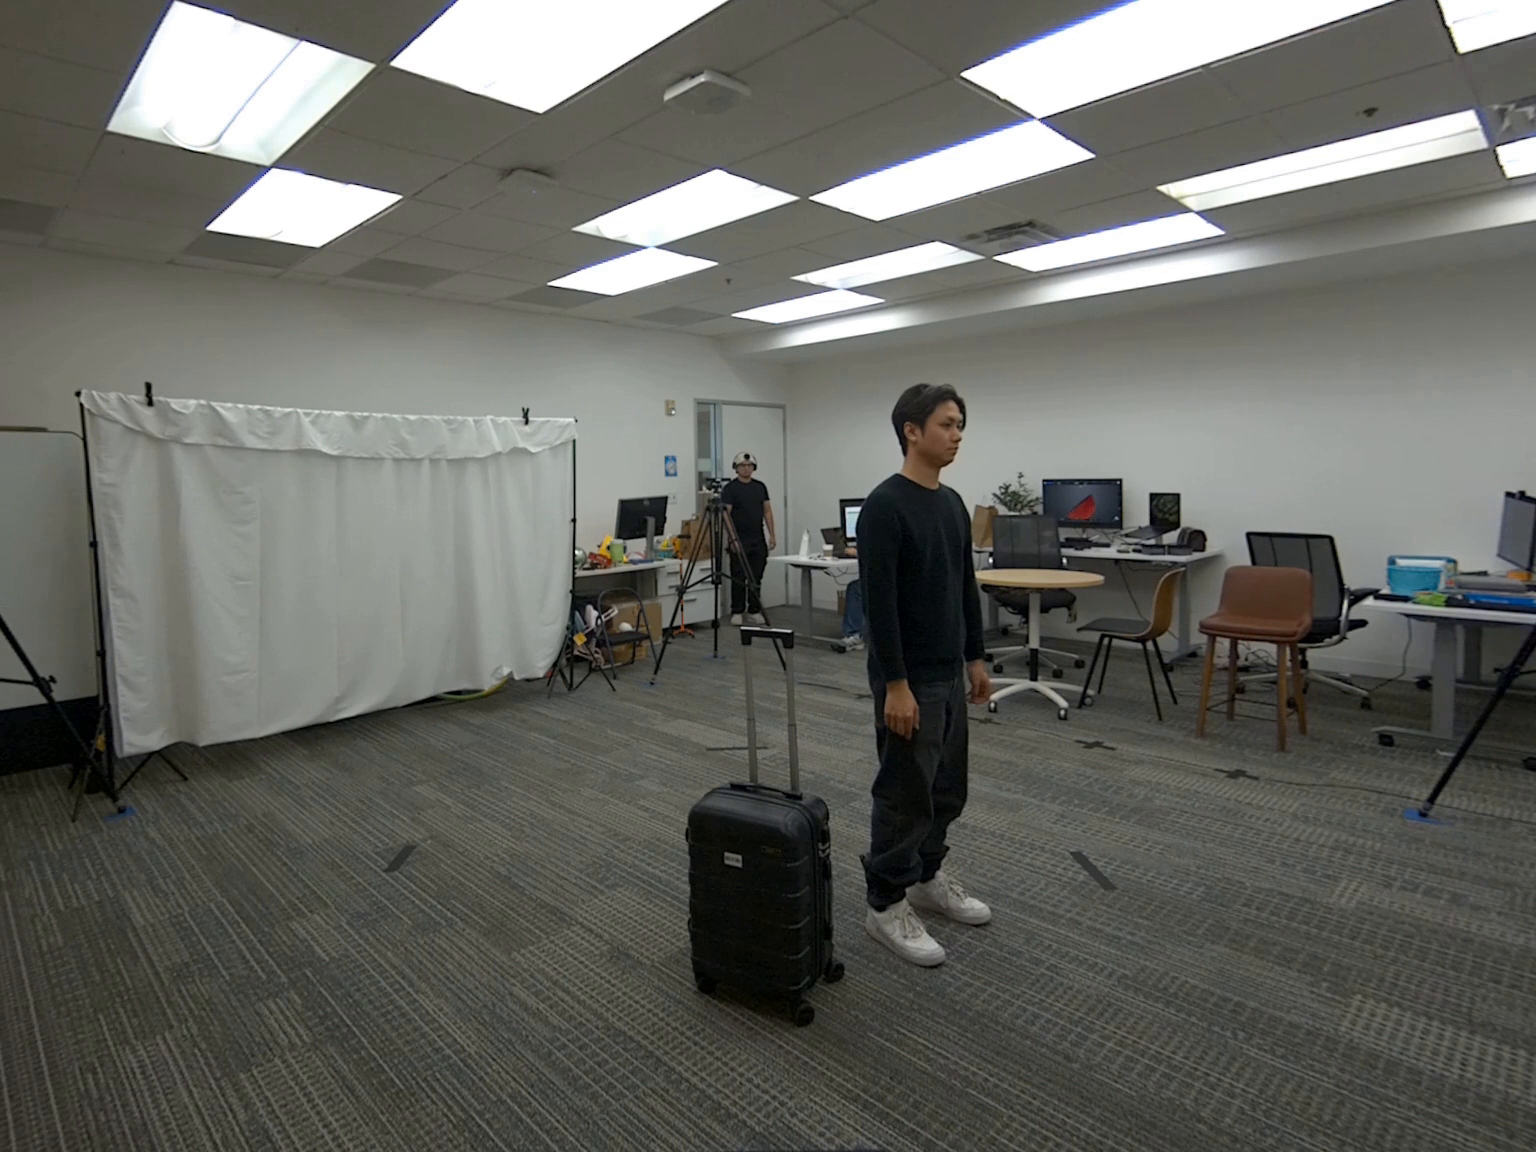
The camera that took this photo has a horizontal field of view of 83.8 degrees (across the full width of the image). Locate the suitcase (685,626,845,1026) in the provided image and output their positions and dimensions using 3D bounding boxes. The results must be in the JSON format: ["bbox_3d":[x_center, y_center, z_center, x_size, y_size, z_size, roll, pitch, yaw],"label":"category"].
[{"bbox_3d":[-0.025,0.658,2.307,0.394,0.973,0.252,1,7,30],"label":"suitcase"}]
